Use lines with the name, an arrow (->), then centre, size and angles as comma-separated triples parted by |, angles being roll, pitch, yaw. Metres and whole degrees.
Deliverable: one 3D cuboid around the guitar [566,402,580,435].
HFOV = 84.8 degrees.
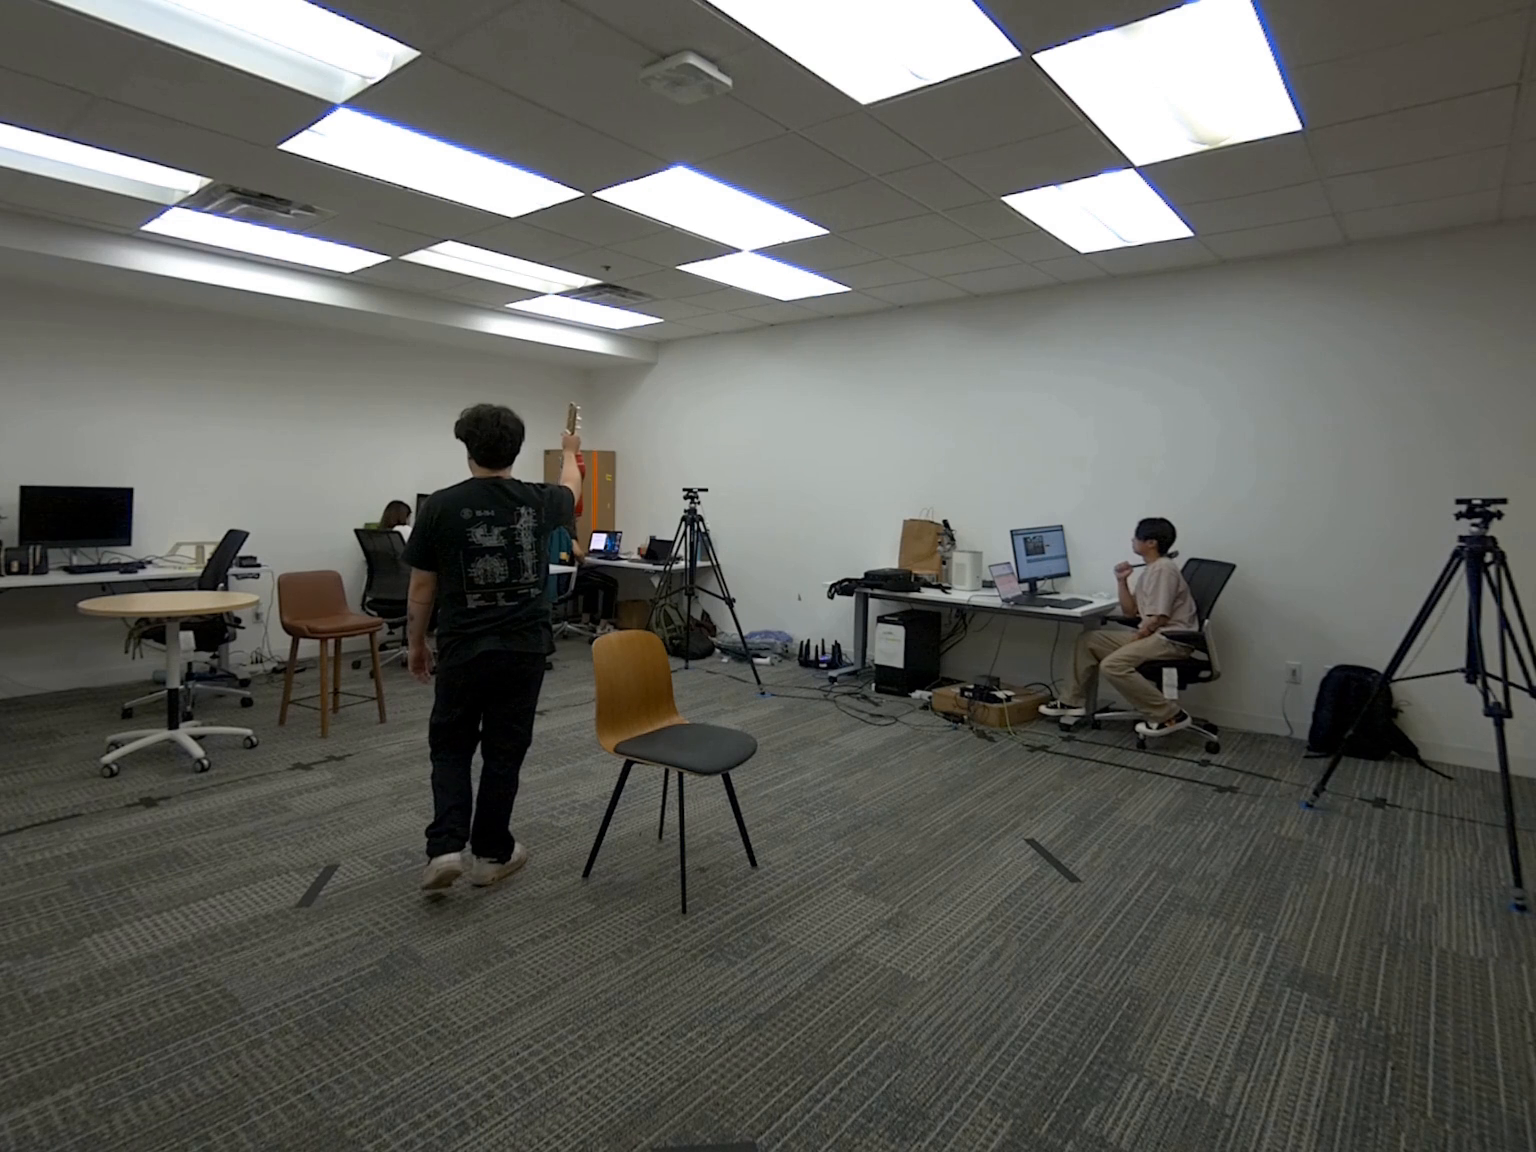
guitar -> -0.810, -0.467, 3.500 | 0.069, 0.490, 0.201 | -5, 45, -30
